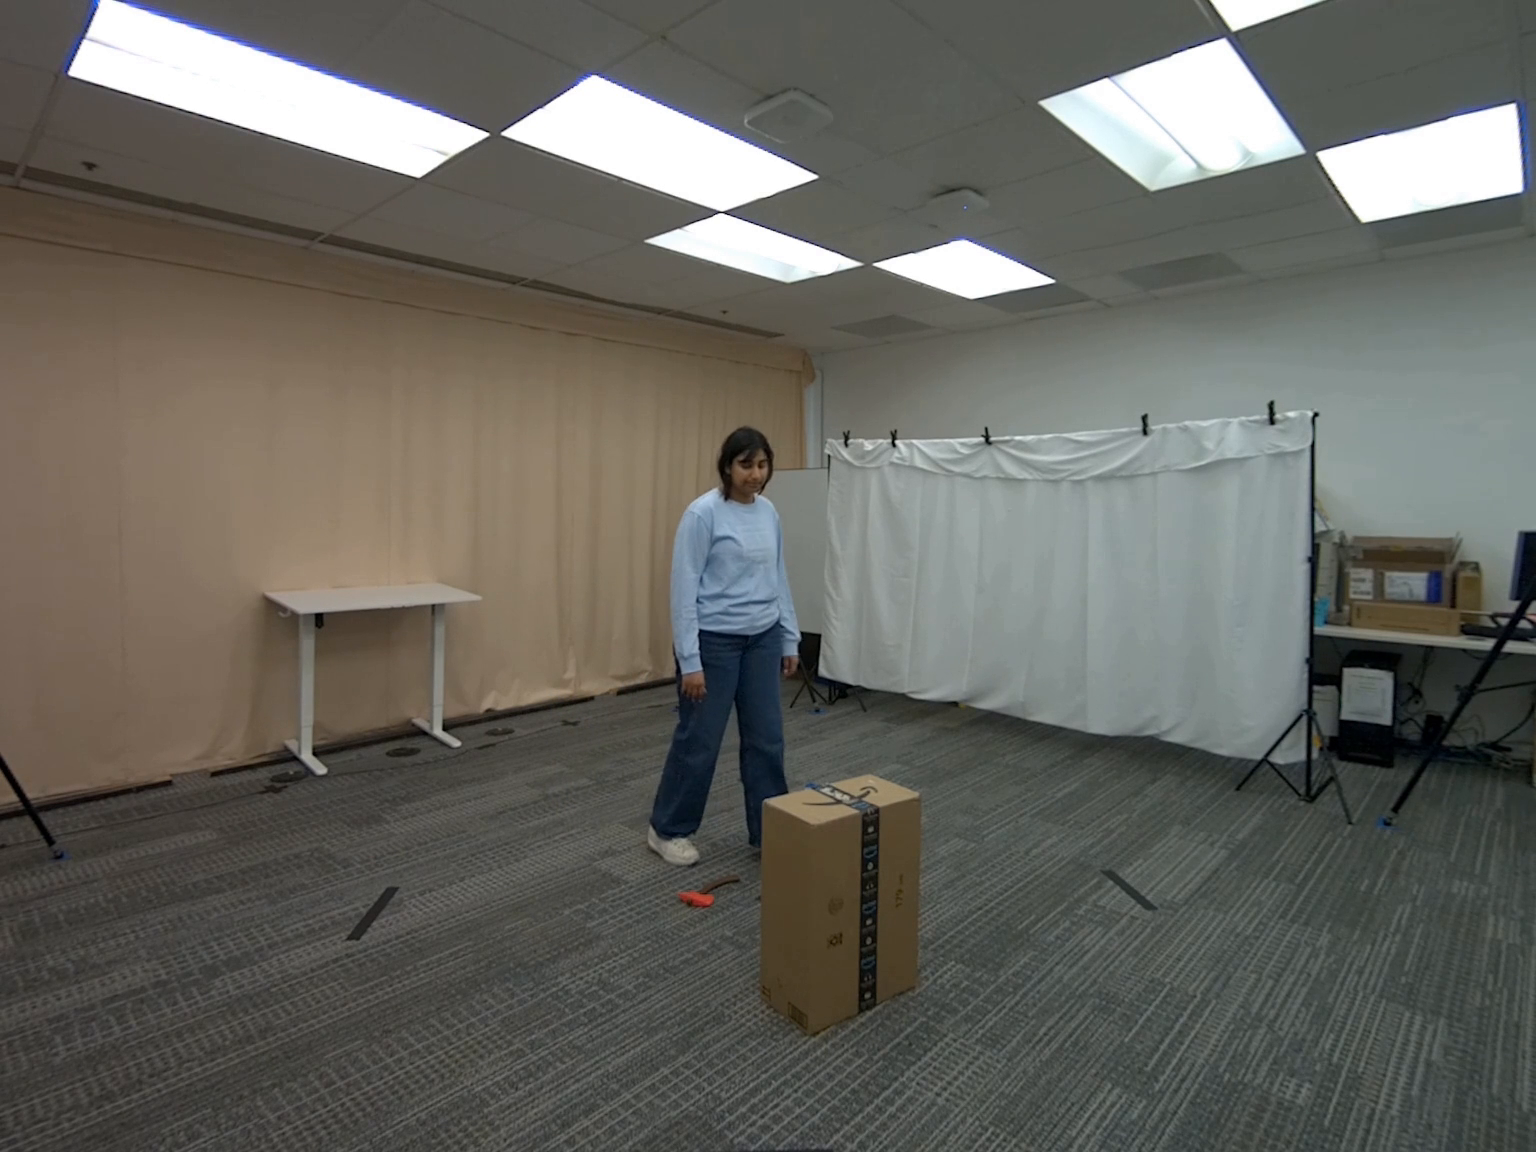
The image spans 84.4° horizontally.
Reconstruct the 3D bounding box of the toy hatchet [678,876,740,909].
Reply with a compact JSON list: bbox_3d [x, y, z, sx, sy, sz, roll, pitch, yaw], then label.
[{"bbox_3d":[-0.181,1.130,3.014,0.262,0.029,0.135,-3,5,-41],"label":"toy hatchet"}]
